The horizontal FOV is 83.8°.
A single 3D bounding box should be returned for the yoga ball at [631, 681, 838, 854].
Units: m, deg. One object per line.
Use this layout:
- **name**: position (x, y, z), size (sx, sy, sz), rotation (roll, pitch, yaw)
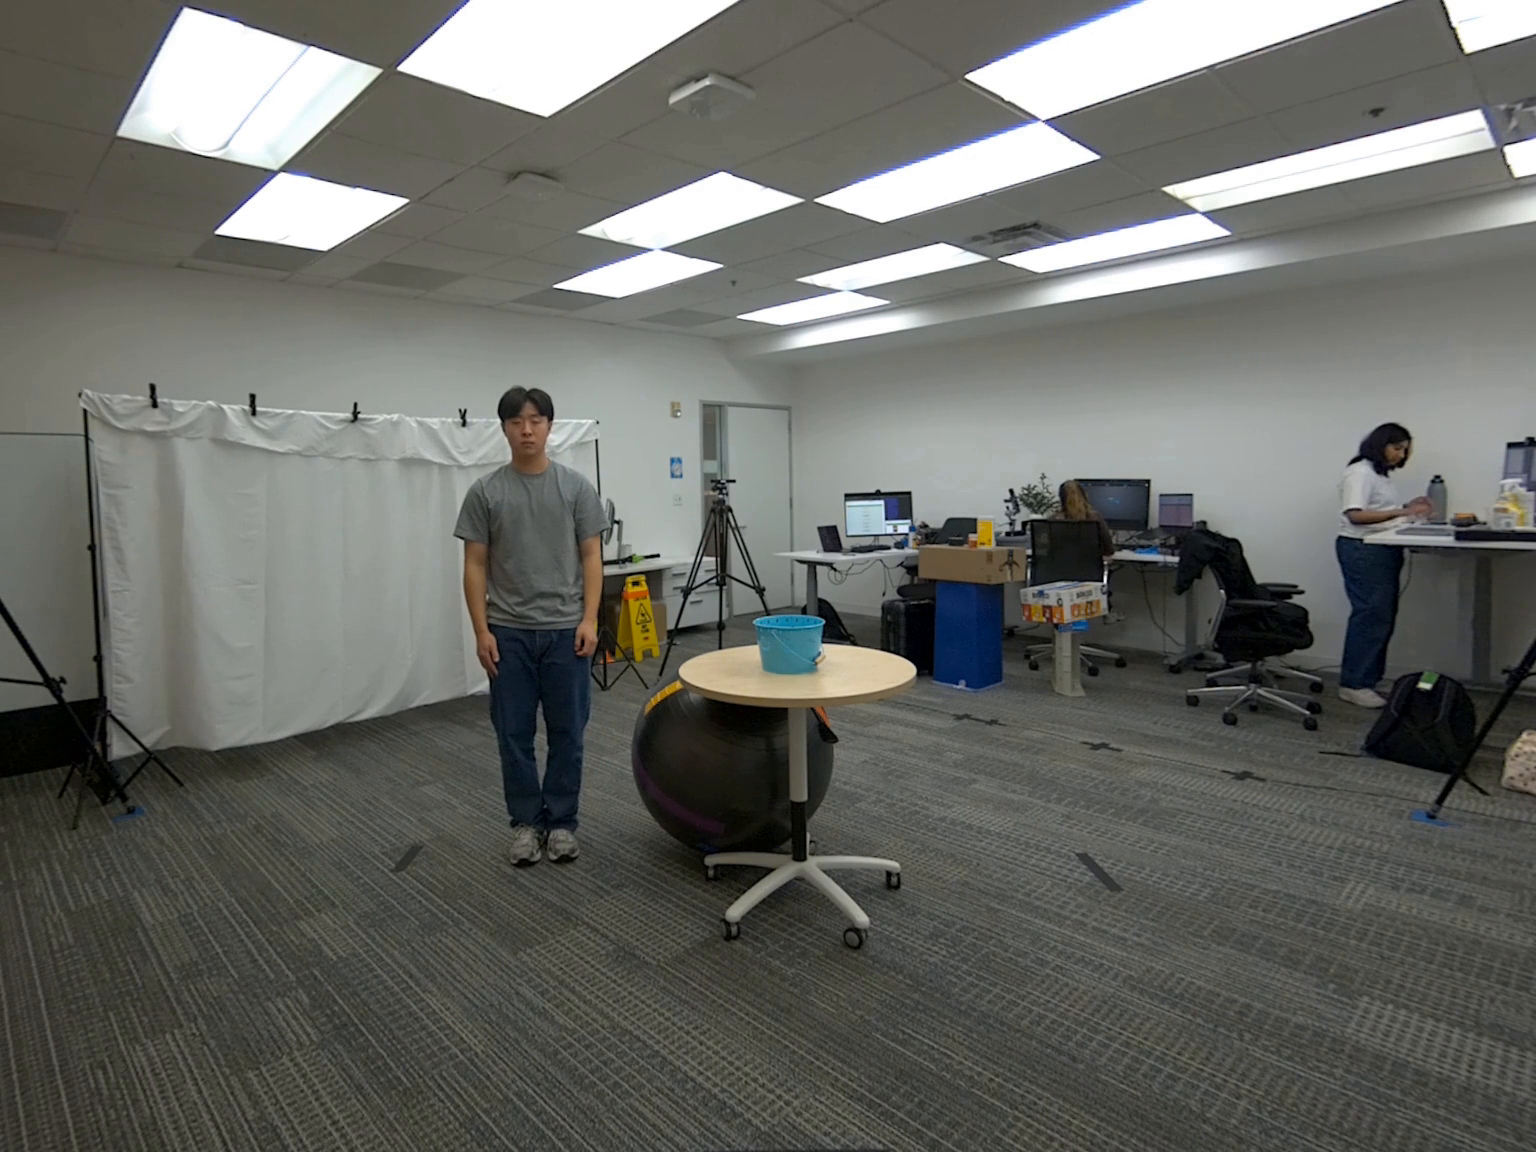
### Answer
- **yoga ball**: position (-0.135, 0.667, 3.240), size (0.757, 0.755, 0.762), rotation (-1, 5, -2)
